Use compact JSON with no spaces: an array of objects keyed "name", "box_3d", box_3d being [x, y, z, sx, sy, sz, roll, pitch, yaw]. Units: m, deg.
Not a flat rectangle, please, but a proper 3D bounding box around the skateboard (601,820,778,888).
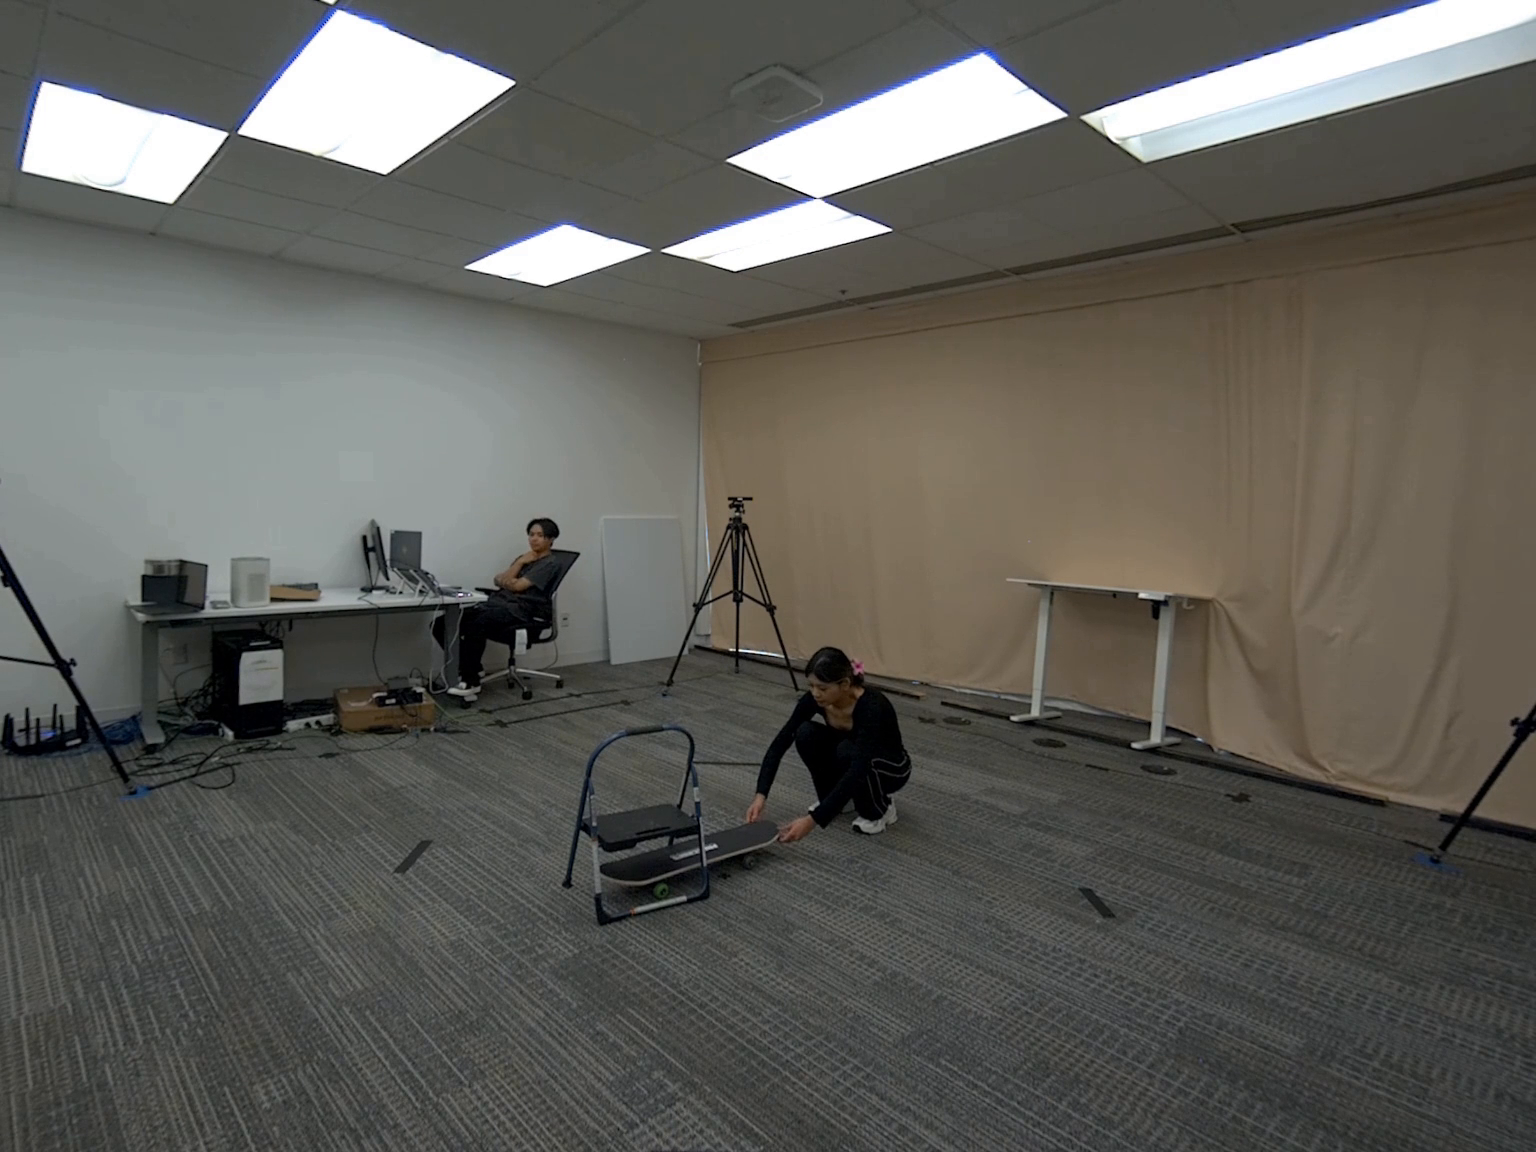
[{"name":"skateboard","box_3d":[-0.283,1.047,3.102,0.768,0.110,0.198,-3,7,-39]}]
